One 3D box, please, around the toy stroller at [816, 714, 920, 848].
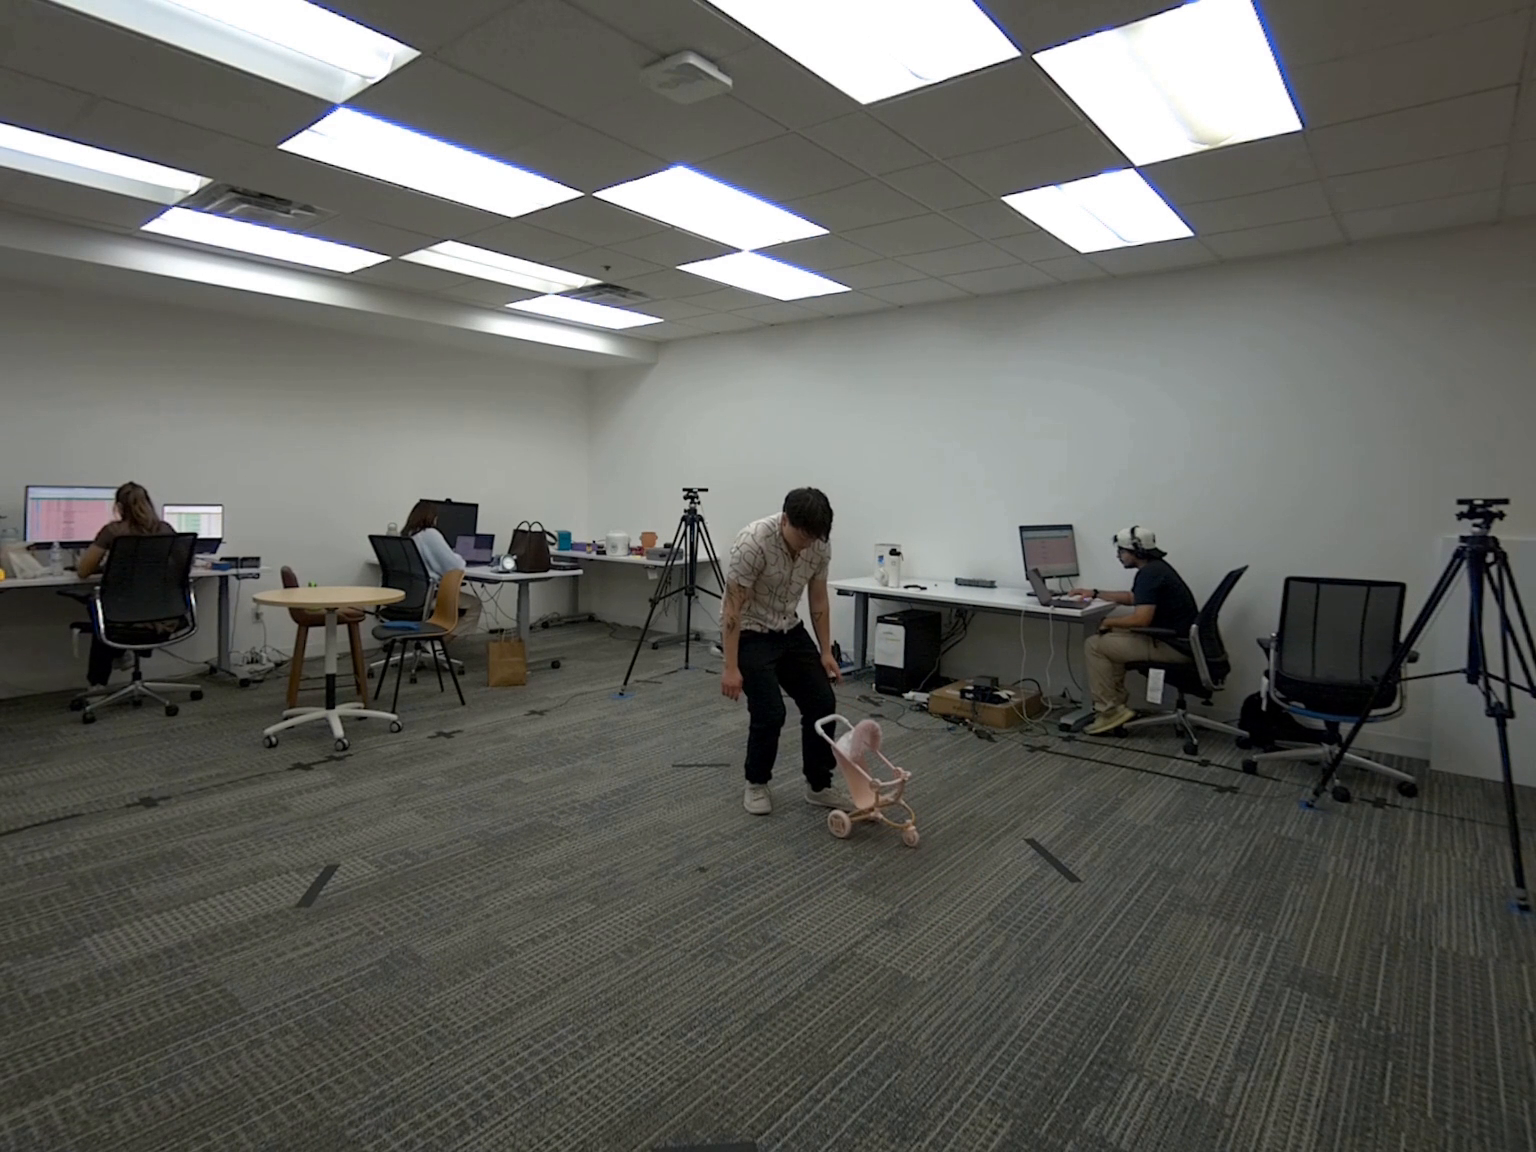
[{"bbox_3d":[0.408,0.823,3.468,0.349,0.540,0.273,-17,-9,42],"label":"toy stroller"}]
